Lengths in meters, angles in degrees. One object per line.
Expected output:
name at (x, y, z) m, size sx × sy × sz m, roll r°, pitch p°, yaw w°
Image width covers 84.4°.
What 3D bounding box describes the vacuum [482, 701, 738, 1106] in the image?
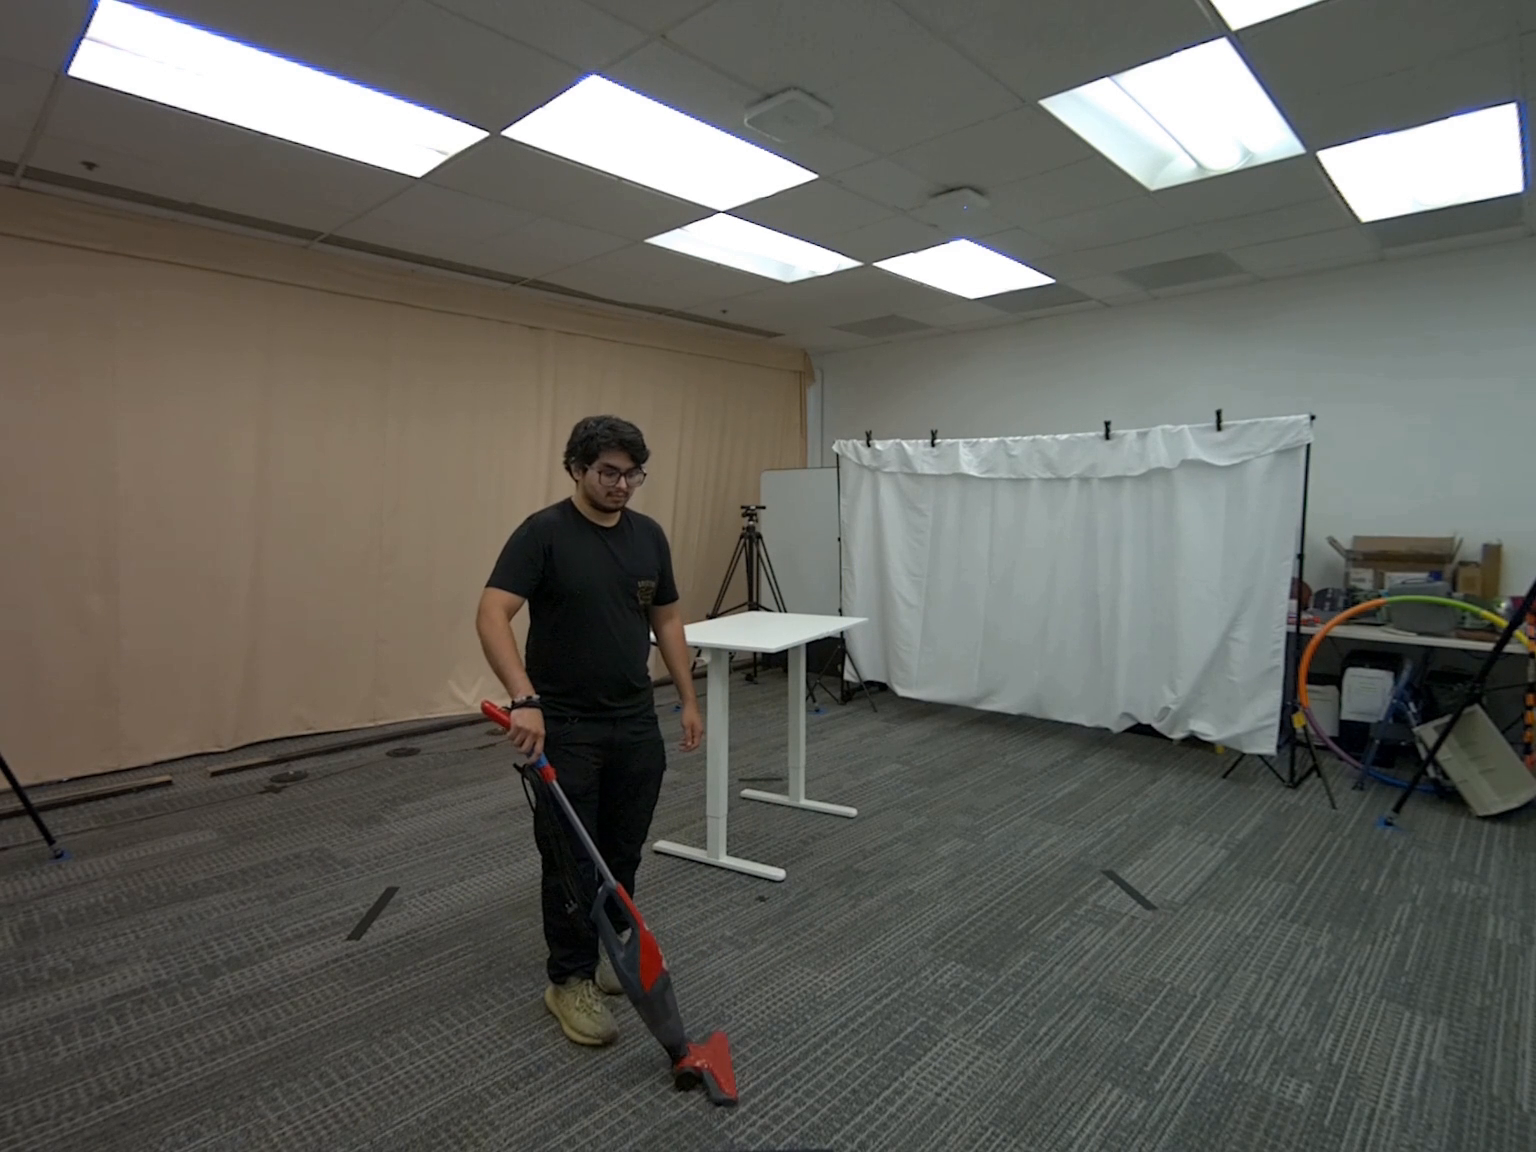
vacuum at (-0.403, 0.759, 2.025) m, size 0.143 × 1.043 × 0.255 m, roll -31°, pitch 5°, yaw -11°
